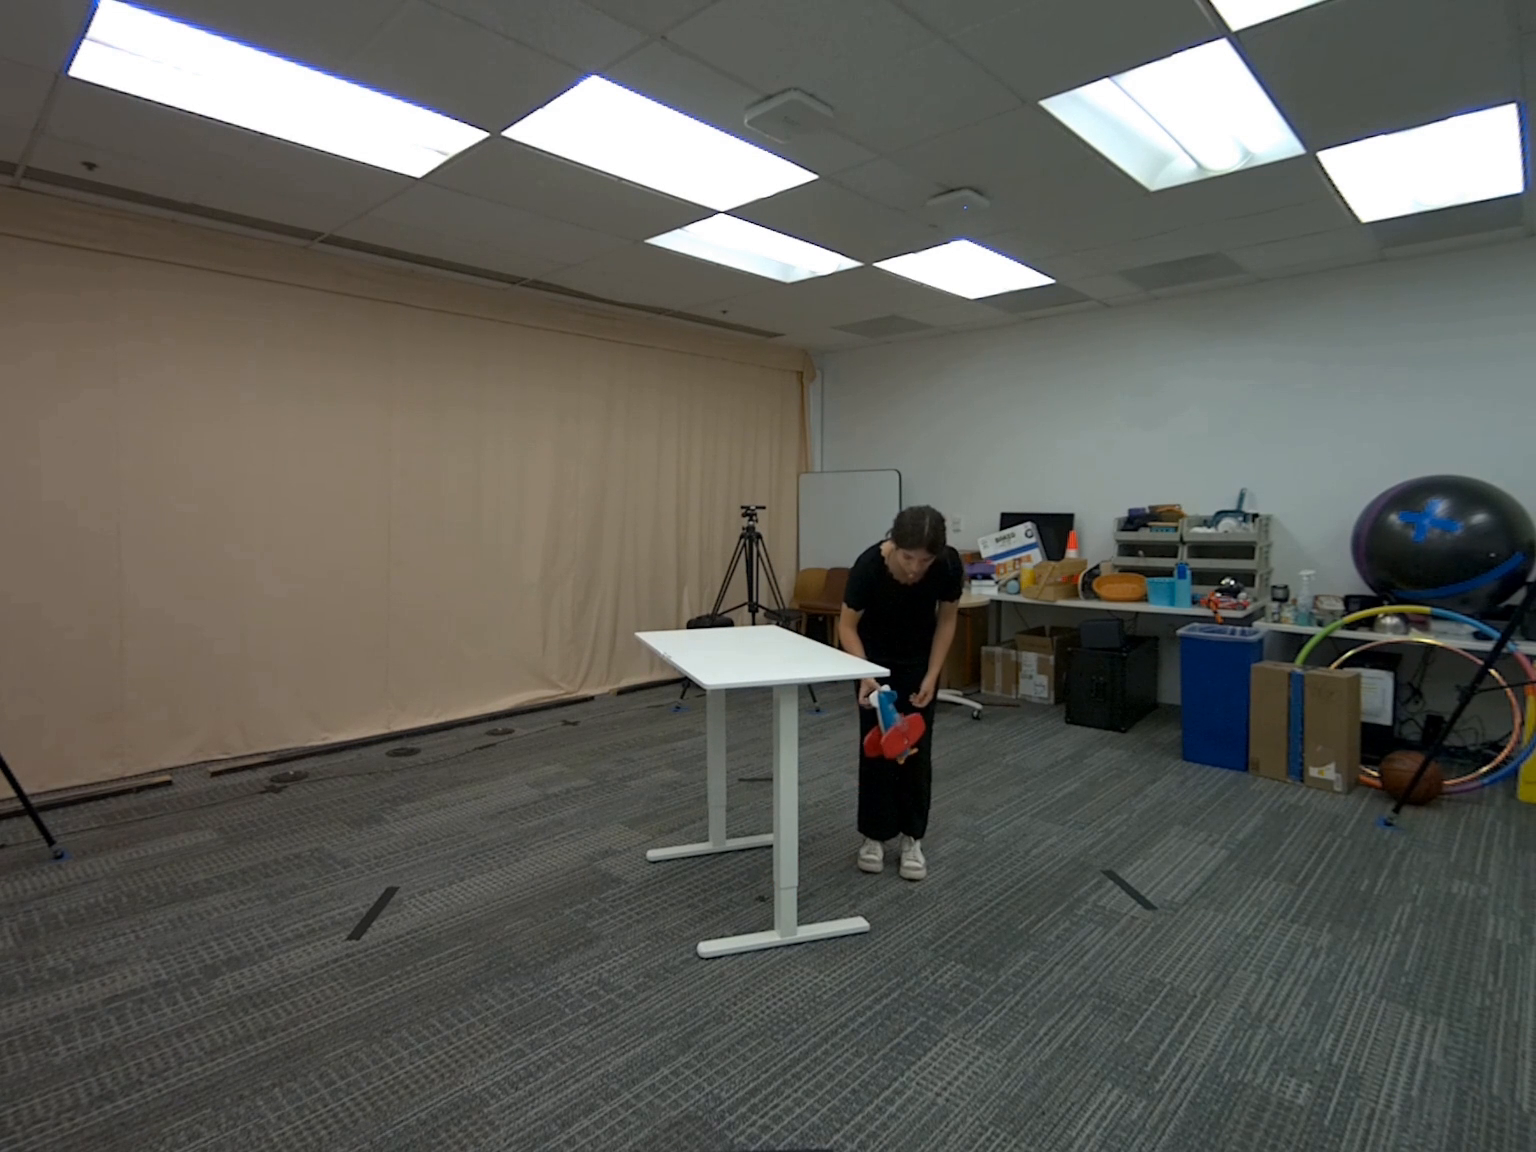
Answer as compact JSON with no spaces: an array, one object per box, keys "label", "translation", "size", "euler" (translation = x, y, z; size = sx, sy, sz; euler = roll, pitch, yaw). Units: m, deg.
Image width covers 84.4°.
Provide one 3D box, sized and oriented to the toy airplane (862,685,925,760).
[{"label":"toy airplane","translation":[0.421,0.537,3.000],"size":[0.162,0.252,0.250],"euler":[4,47,44]}]
